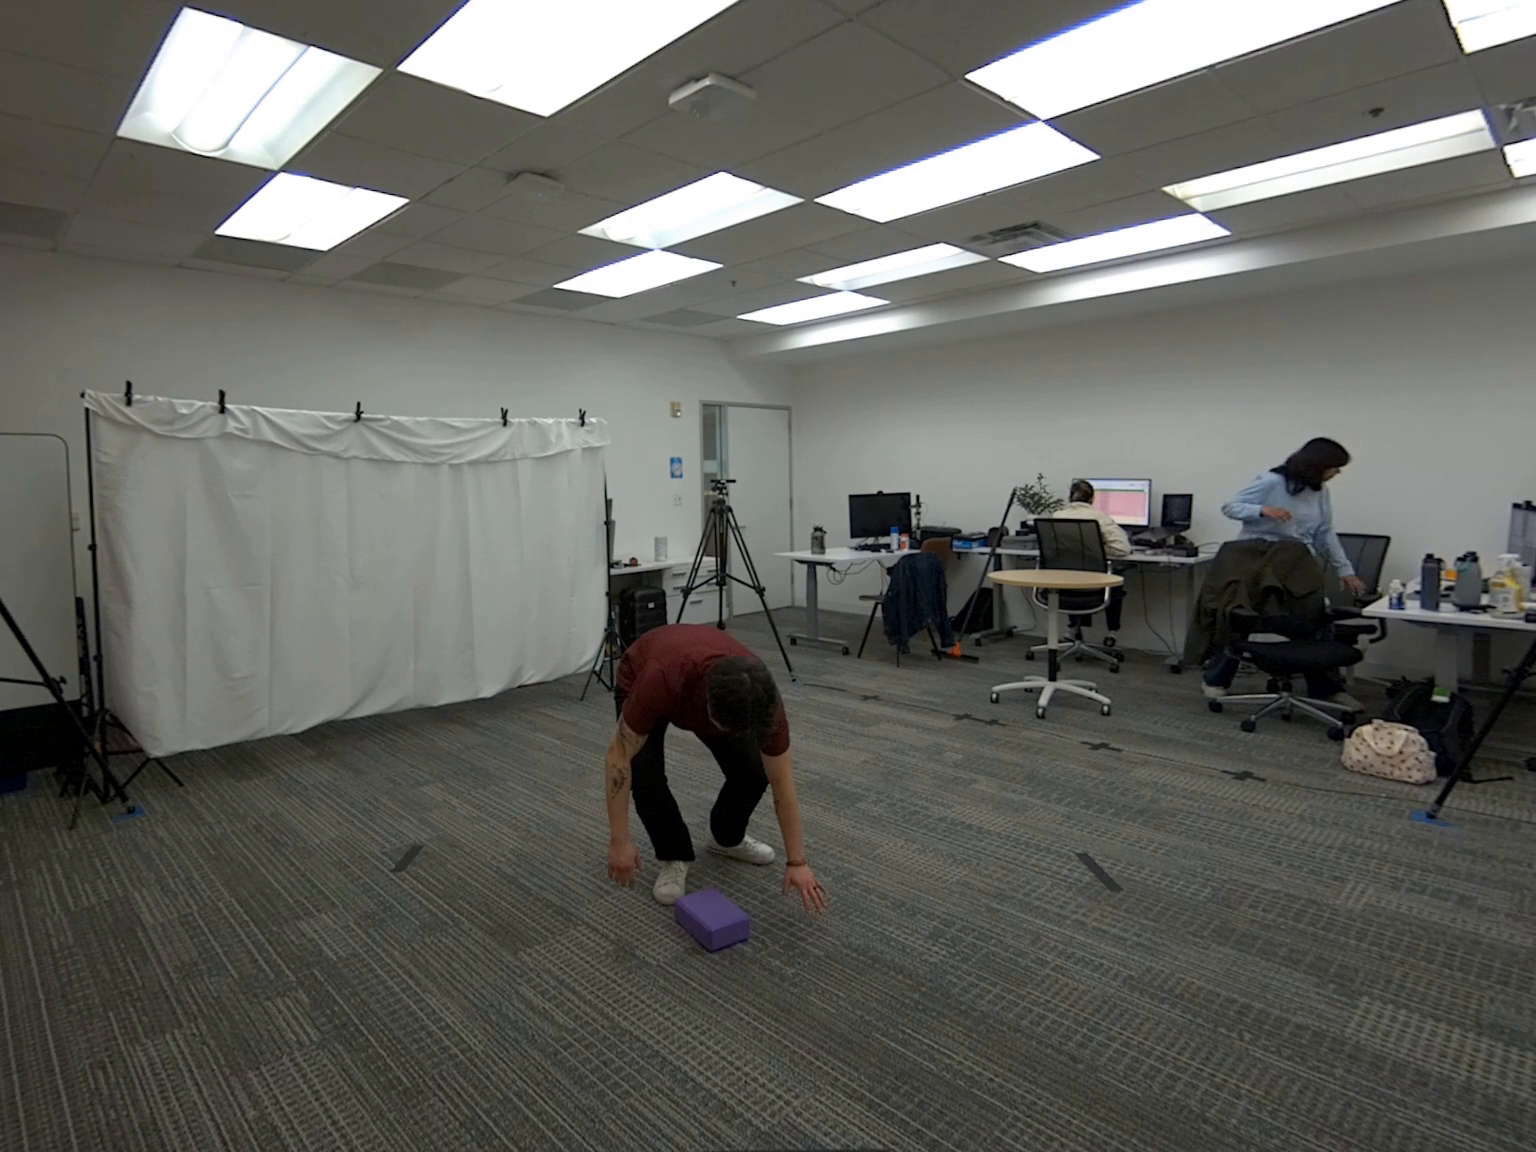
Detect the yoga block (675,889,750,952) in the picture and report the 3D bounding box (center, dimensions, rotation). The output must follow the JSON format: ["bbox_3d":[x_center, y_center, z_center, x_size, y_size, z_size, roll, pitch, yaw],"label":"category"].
[{"bbox_3d":[-0.176,1.062,2.655,0.145,0.076,0.236,-6,10,-32],"label":"yoga block"}]
